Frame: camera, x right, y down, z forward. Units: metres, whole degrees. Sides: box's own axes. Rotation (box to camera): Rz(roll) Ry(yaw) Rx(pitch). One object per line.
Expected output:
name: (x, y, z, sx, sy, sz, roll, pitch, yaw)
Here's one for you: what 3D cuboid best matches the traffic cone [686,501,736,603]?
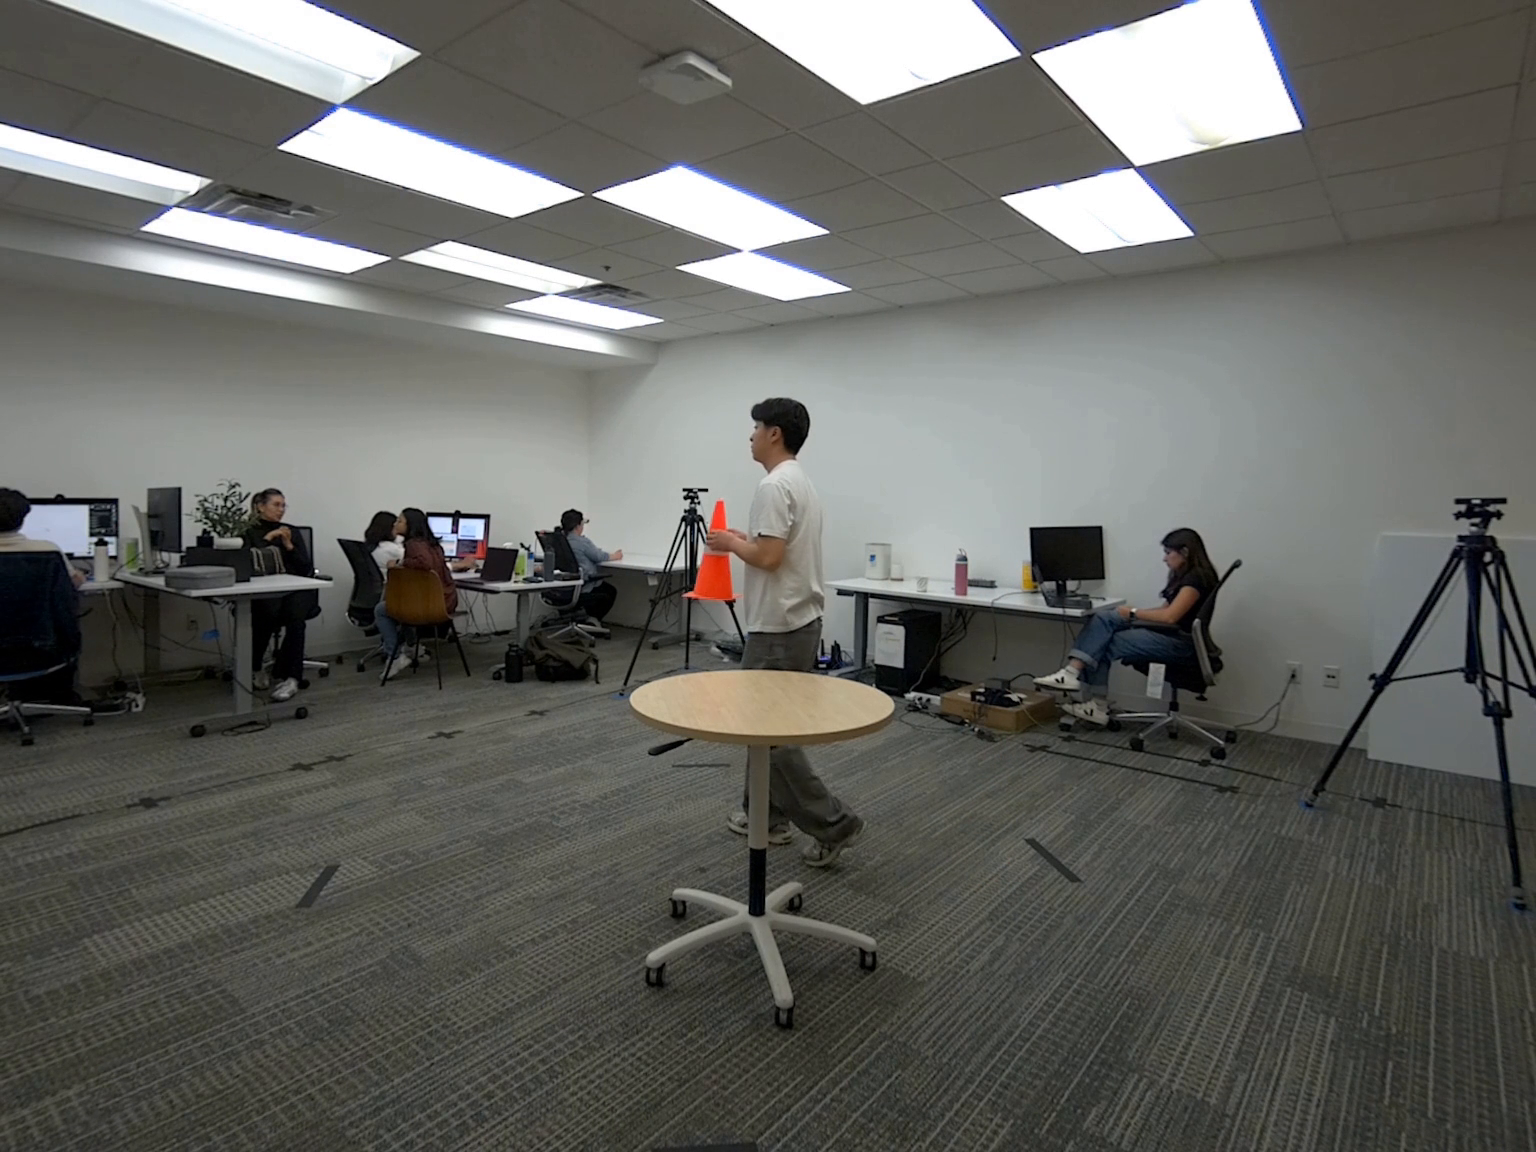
traffic cone: (-0.204, -0.118, 3.382, 0.208, 0.381, 0.201, 4, 7, 21)
